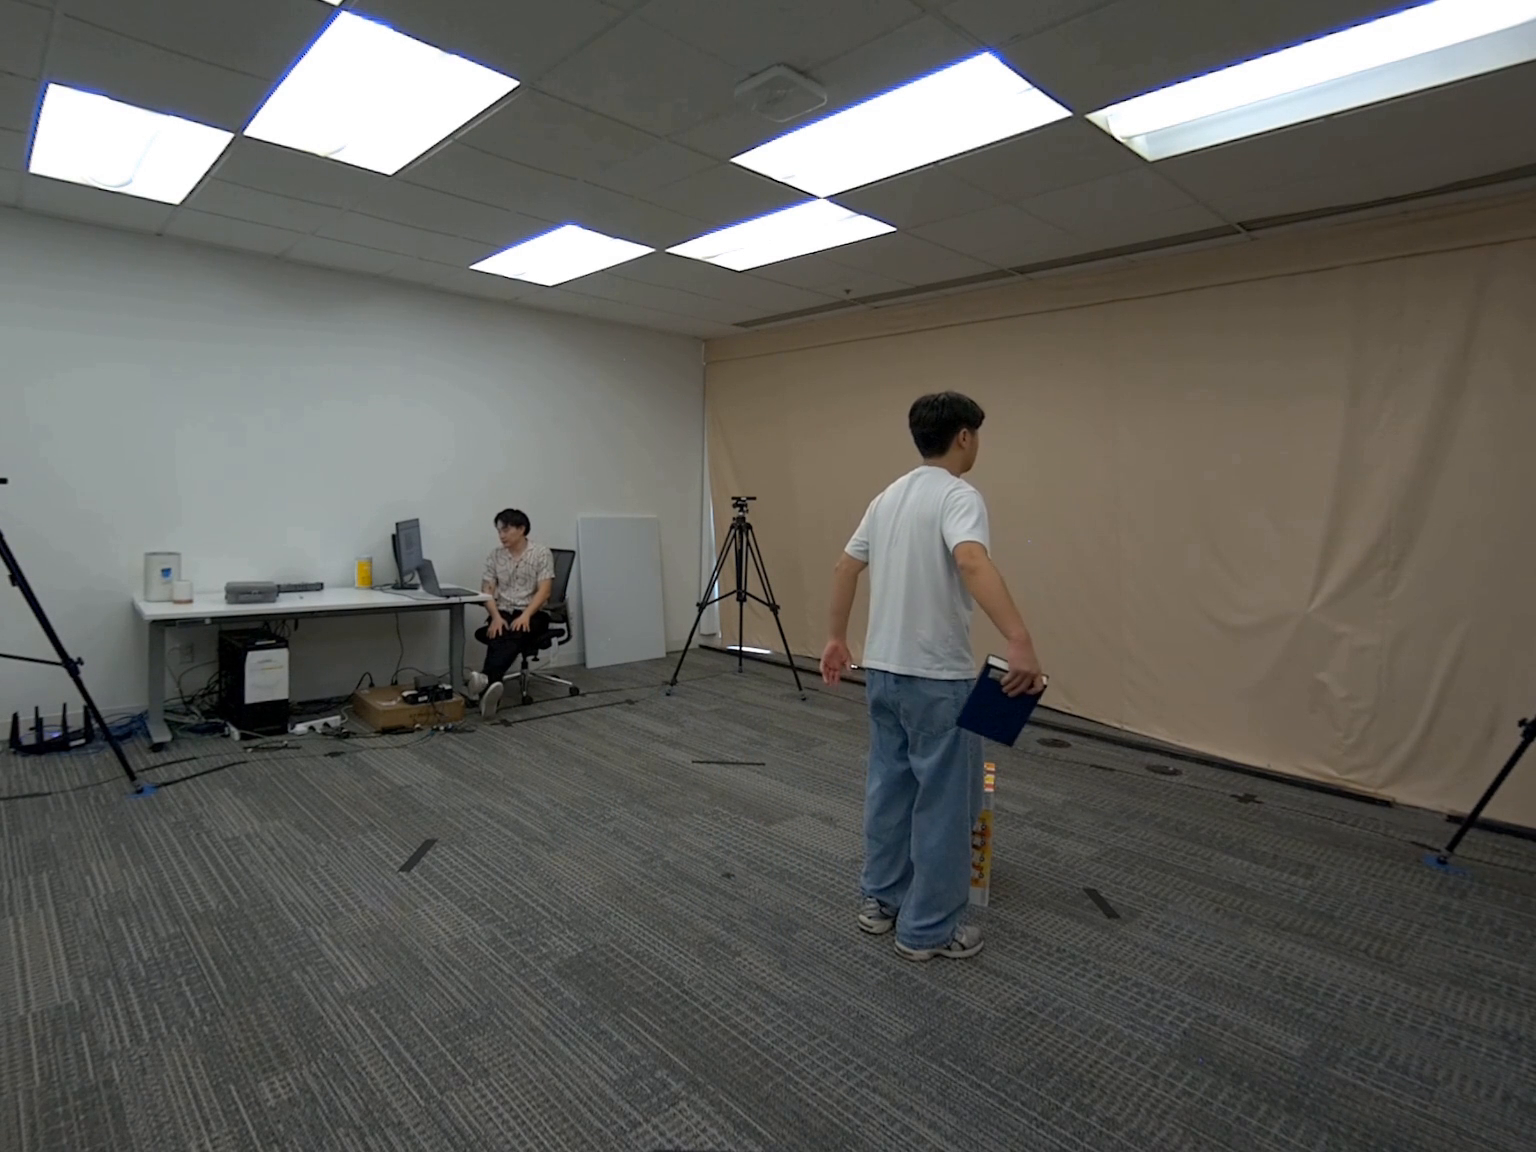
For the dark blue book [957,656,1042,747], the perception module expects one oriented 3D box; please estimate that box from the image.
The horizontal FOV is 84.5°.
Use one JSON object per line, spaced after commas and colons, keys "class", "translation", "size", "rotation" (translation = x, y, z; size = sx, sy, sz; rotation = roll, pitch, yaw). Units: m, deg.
{"class": "dark blue book", "translation": [0.613, 0.334, 2.273], "size": [0.165, 0.242, 0.045], "rotation": [25, 37, 9]}
